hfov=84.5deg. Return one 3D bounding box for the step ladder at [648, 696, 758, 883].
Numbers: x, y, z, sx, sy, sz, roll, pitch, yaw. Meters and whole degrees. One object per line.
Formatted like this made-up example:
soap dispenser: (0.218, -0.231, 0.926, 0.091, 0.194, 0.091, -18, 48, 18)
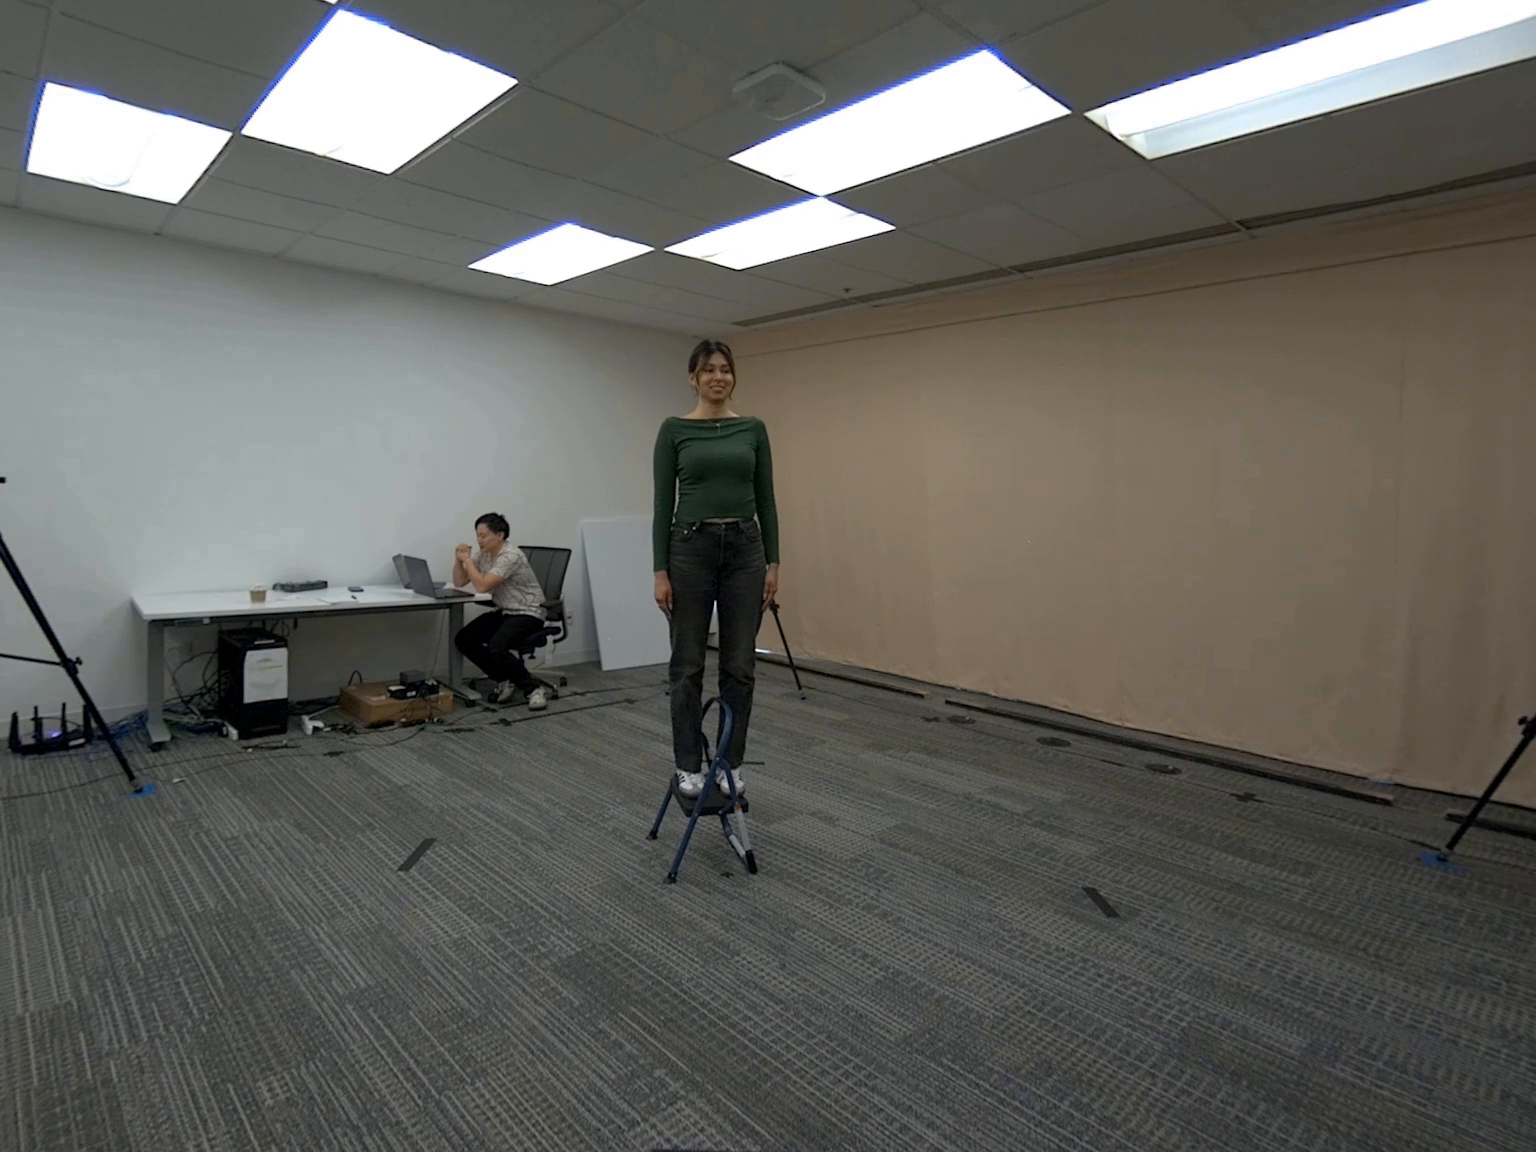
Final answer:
step ladder: (-0.259, 0.785, 3.244, 0.345, 0.604, 0.437, 1, 4, -17)
